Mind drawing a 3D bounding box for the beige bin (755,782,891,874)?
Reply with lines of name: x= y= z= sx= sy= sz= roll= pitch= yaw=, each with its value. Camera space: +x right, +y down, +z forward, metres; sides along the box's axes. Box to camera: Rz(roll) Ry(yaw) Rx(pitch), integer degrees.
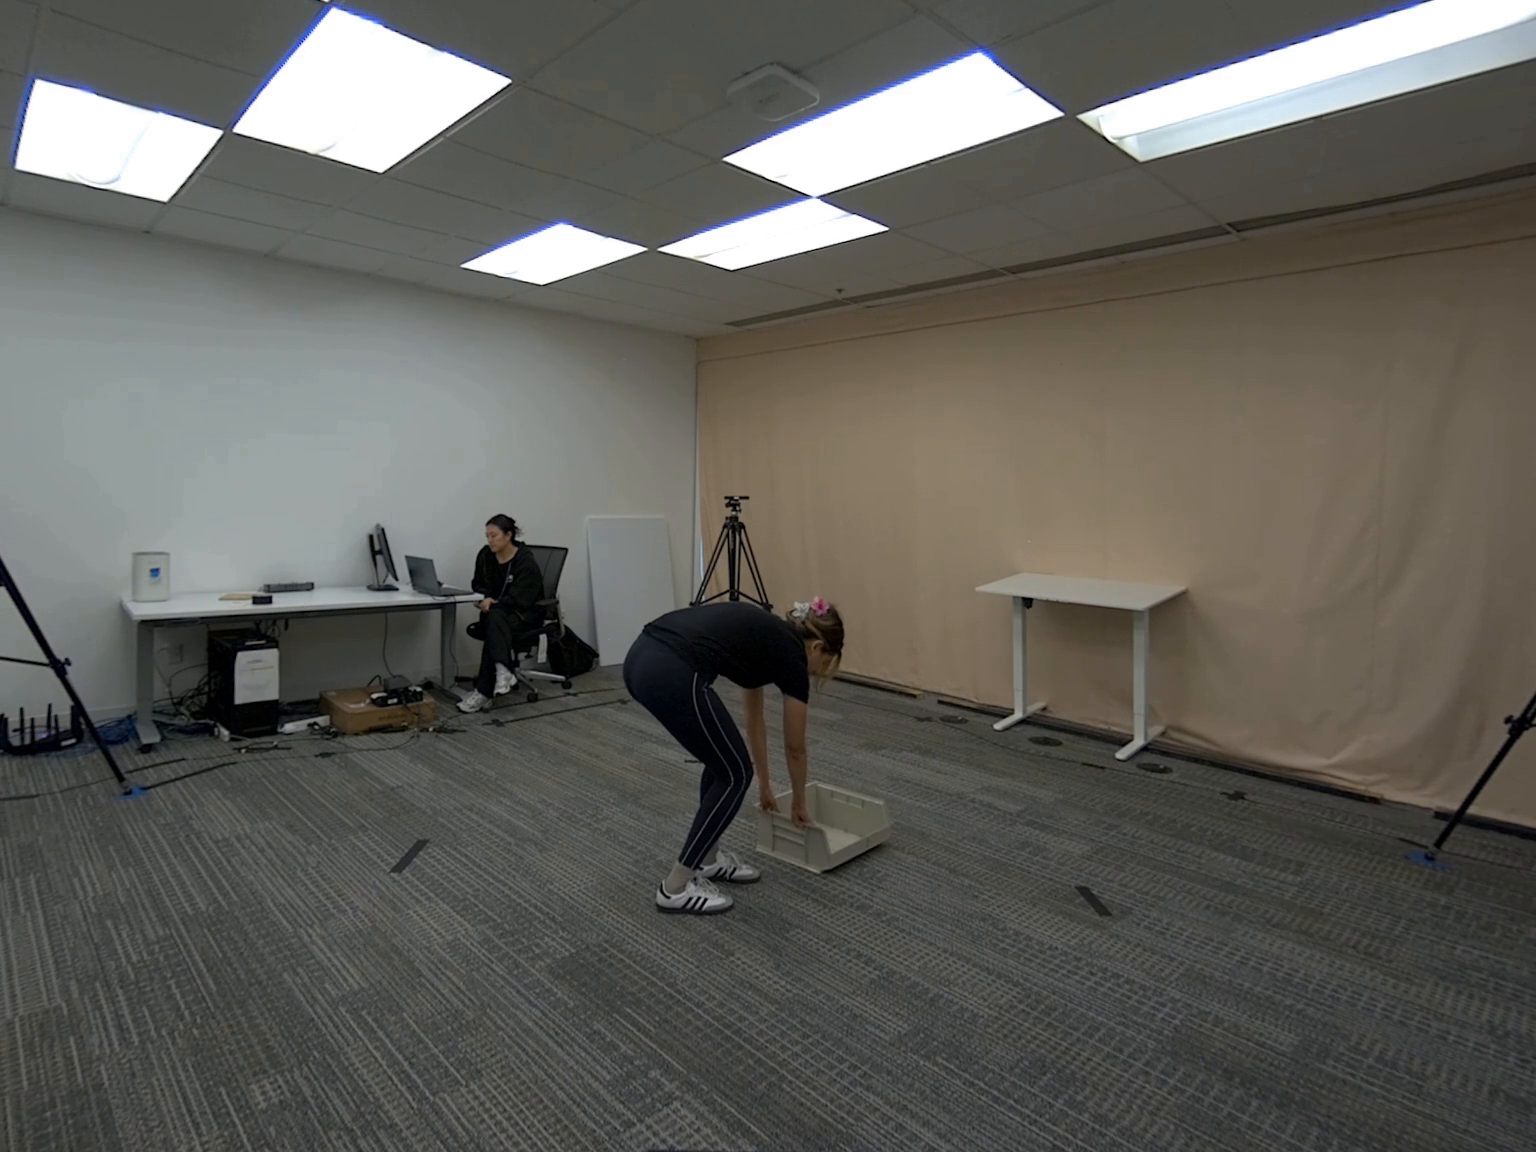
beige bin: x=0.215 y=1.001 z=3.360 sx=0.387 sy=0.188 sz=0.413 roll=4 pitch=6 yaw=41
